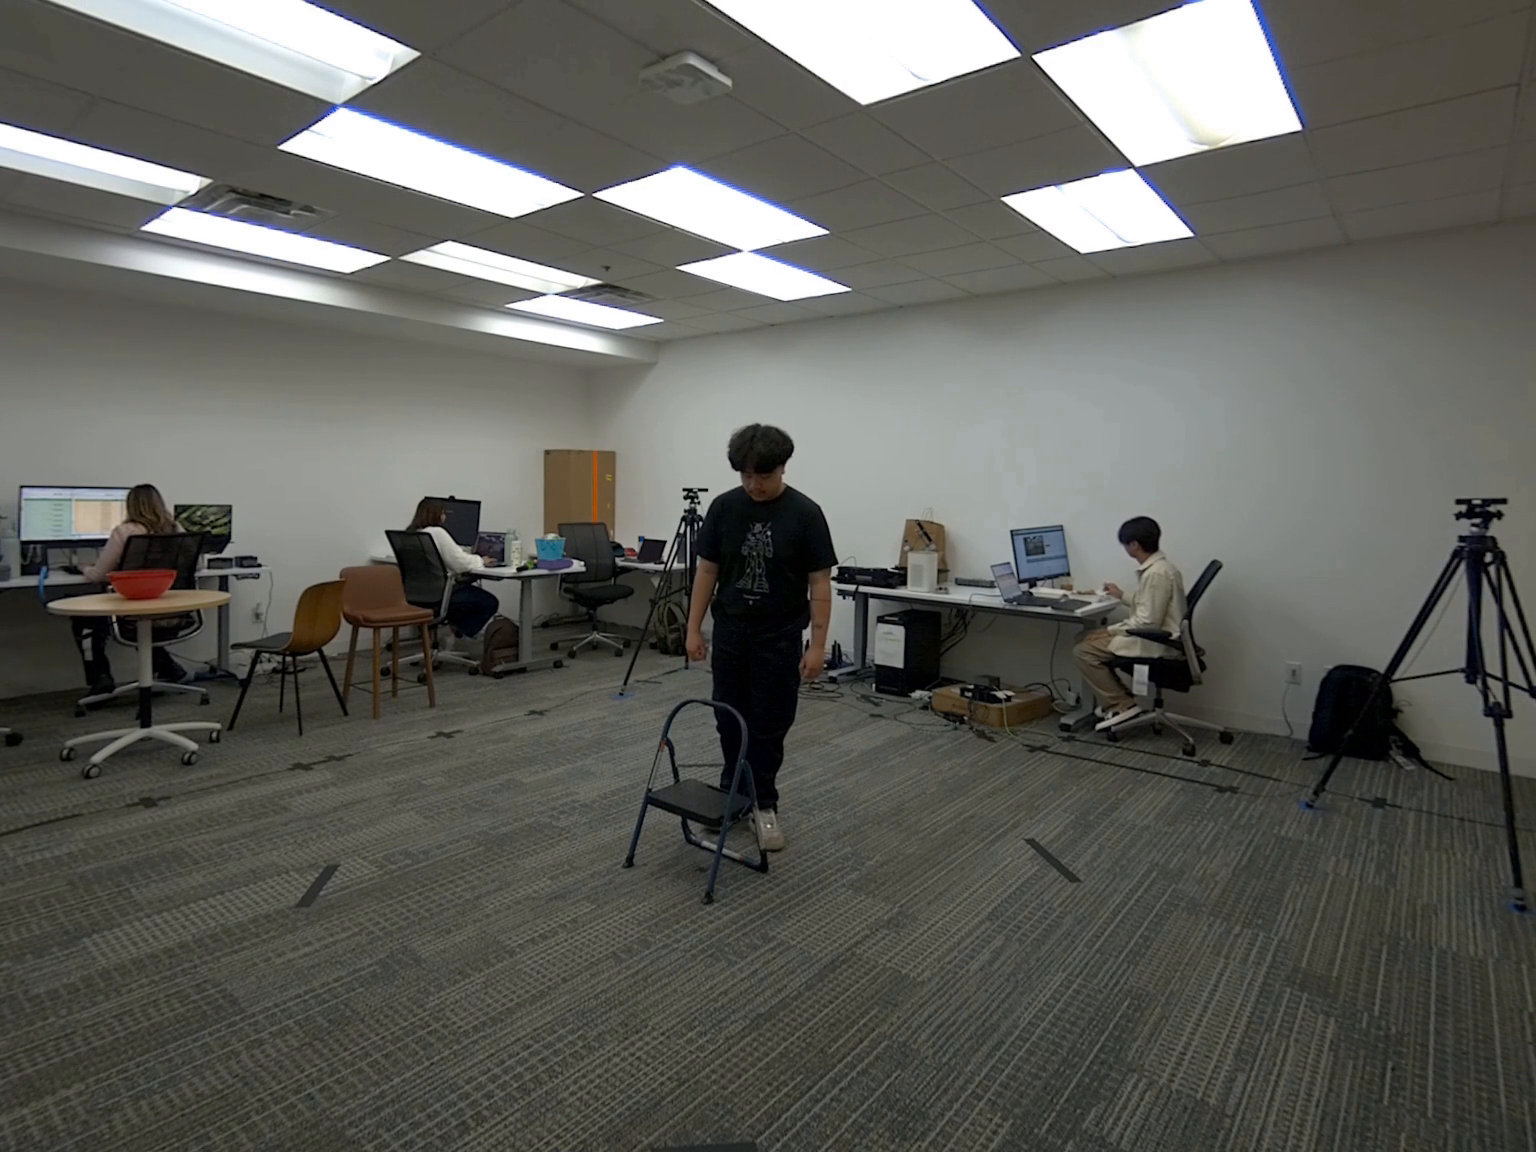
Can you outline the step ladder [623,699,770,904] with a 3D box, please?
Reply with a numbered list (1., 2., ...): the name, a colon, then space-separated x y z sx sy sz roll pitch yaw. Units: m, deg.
1. step ladder: -0.266 0.766 3.093 0.445 0.604 0.339 4 5 40
